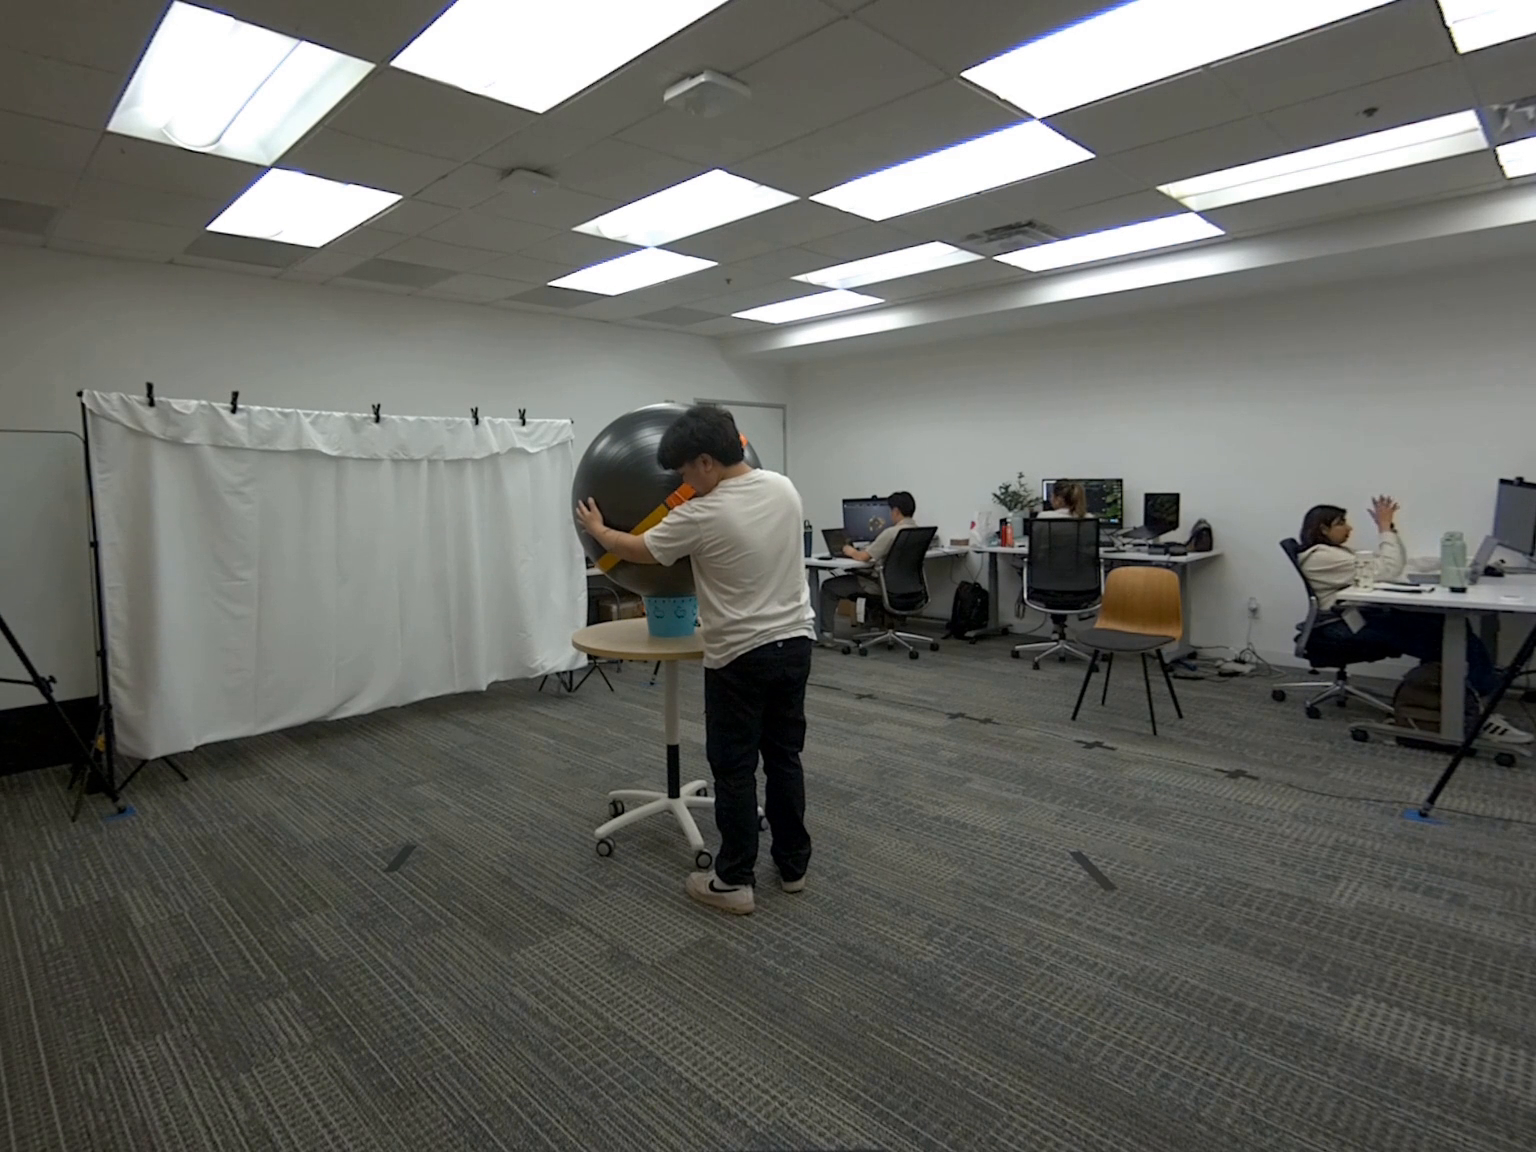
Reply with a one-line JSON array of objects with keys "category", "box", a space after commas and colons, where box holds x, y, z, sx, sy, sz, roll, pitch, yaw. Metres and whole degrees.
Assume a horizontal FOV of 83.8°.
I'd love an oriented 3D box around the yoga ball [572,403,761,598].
[{"category": "yoga ball", "box": [-0.383, -0.288, 3.322, 0.757, 0.755, 0.762, -1, 5, -2]}]
